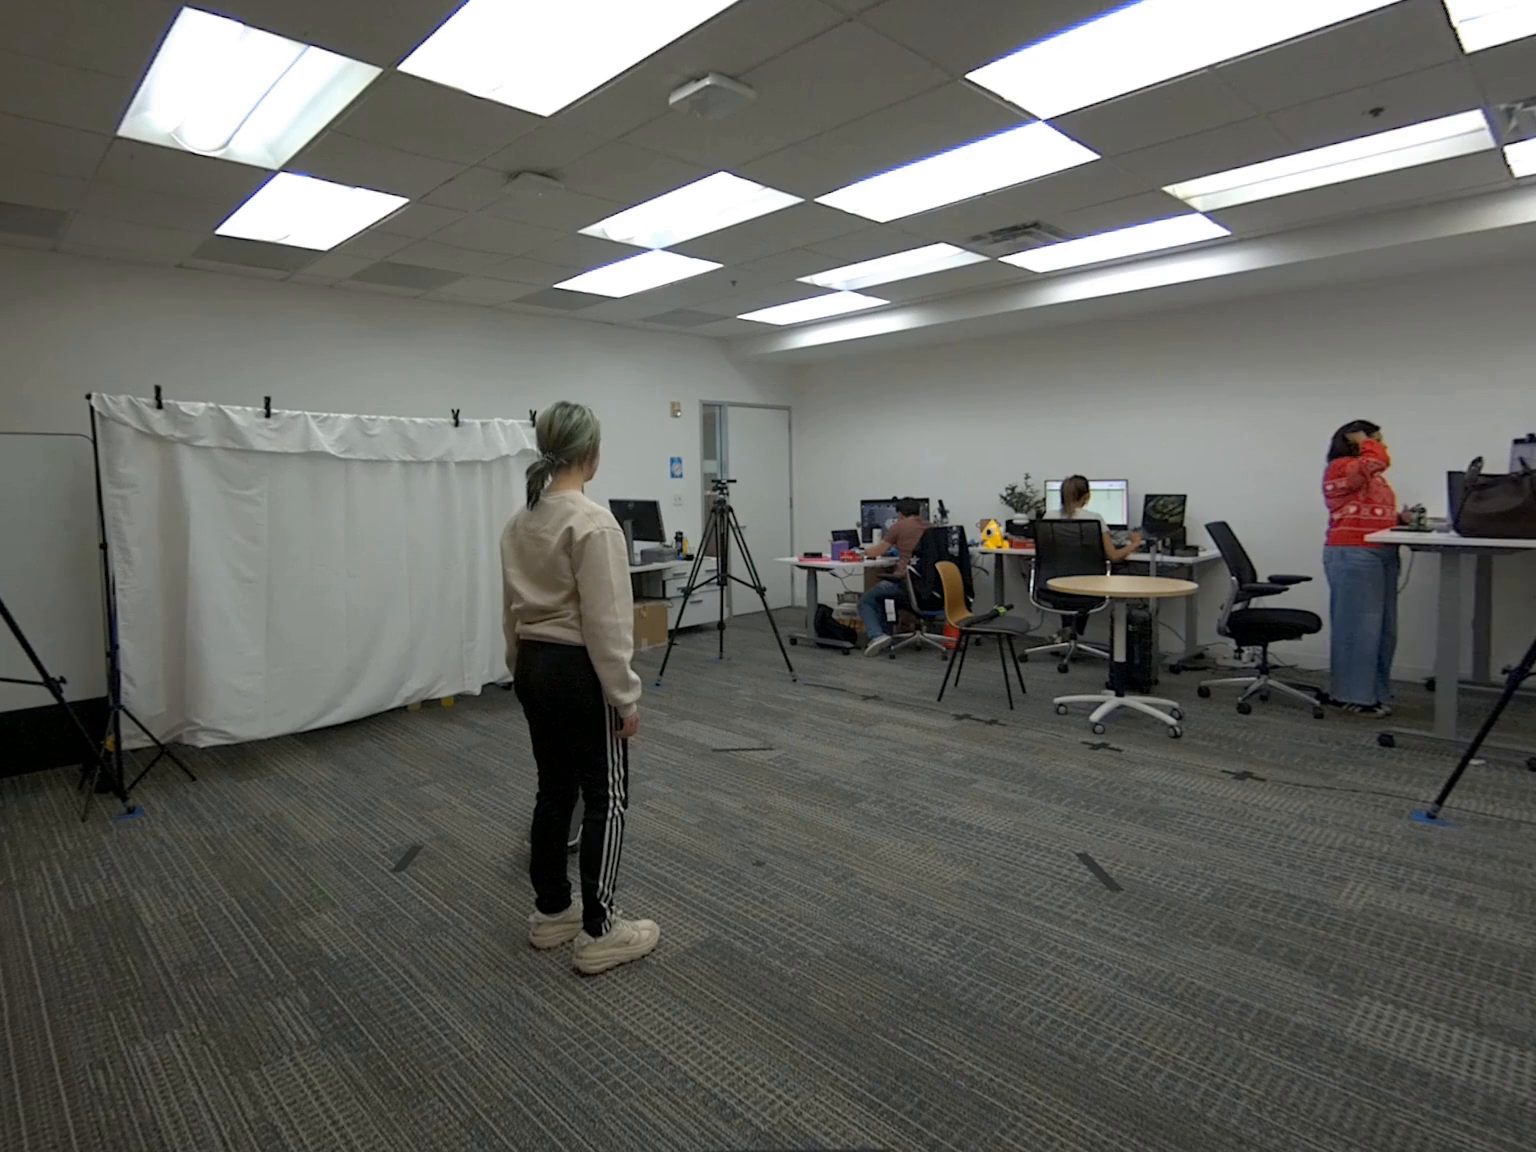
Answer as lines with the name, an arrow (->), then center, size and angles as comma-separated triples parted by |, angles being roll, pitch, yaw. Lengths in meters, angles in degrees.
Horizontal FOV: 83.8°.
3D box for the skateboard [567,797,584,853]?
skateboard -> -0.817, 0.970, 3.436 | 0.193, 0.110, 0.791 | -2, 6, -4
